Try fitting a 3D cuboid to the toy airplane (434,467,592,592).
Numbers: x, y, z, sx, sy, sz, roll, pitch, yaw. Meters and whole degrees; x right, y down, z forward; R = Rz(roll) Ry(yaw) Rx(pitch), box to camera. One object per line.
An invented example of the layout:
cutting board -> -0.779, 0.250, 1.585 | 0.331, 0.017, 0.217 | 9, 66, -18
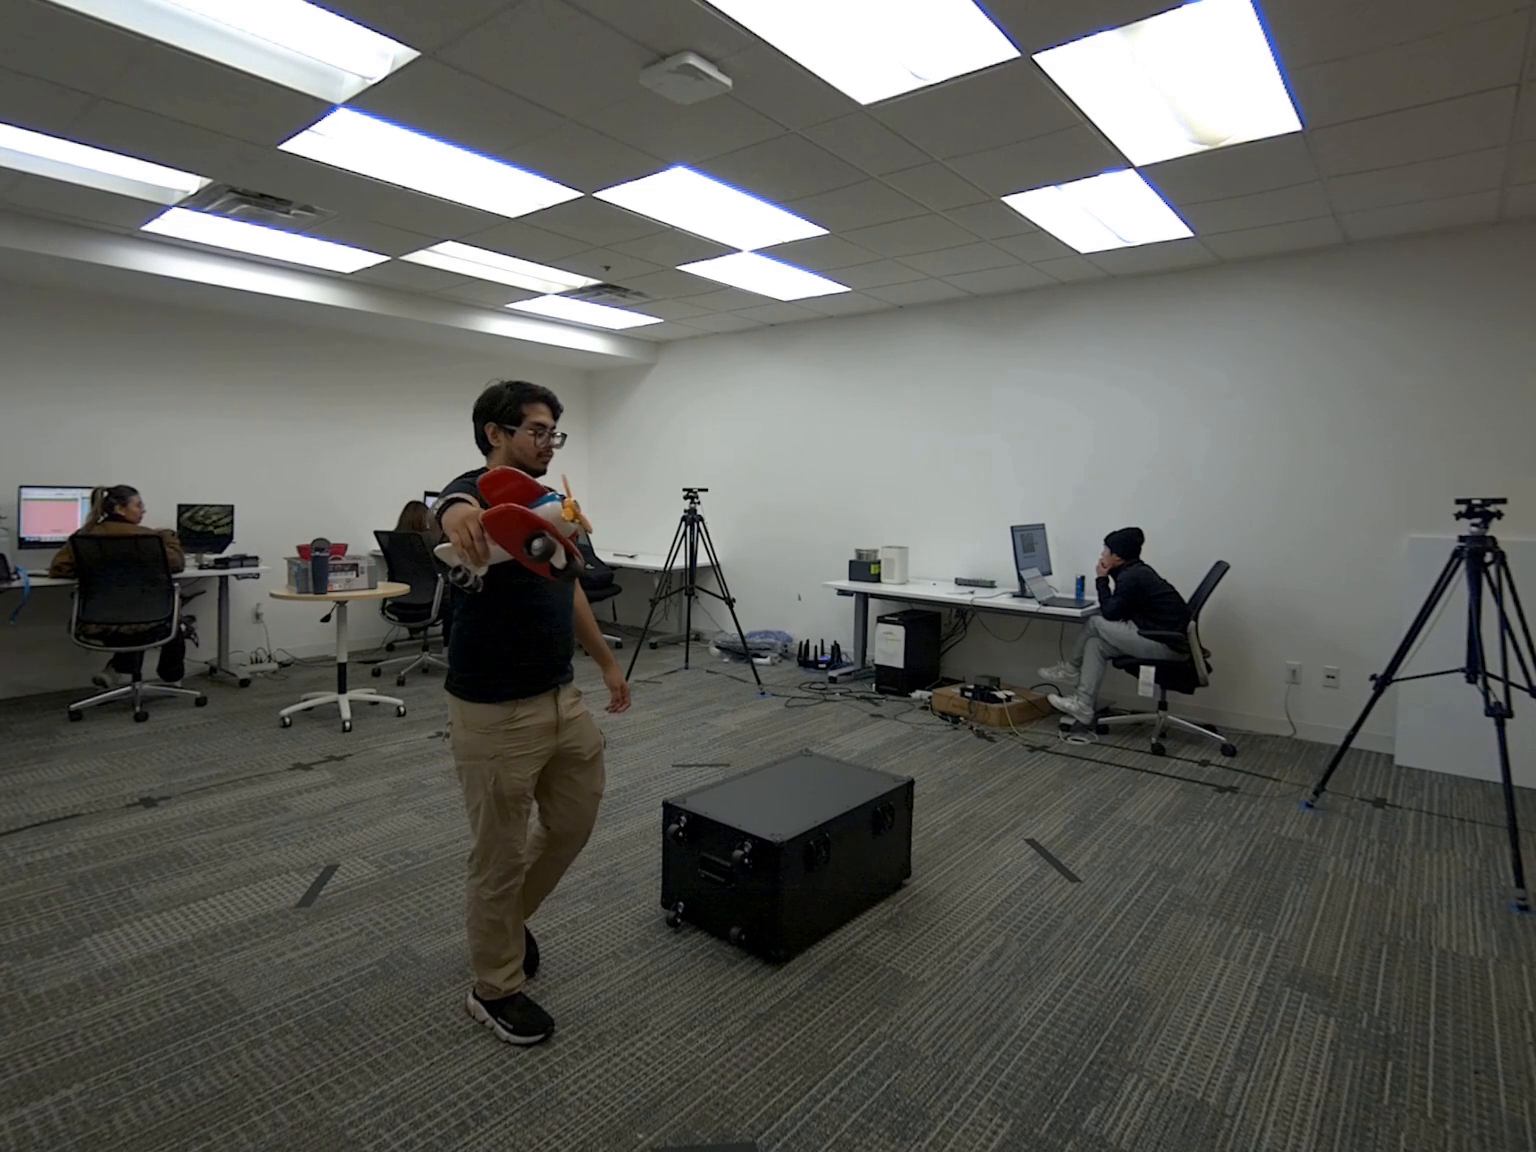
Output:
toy airplane -> -0.459, -0.070, 1.488 | 0.257, 0.160, 0.247 | 4, -28, -7
